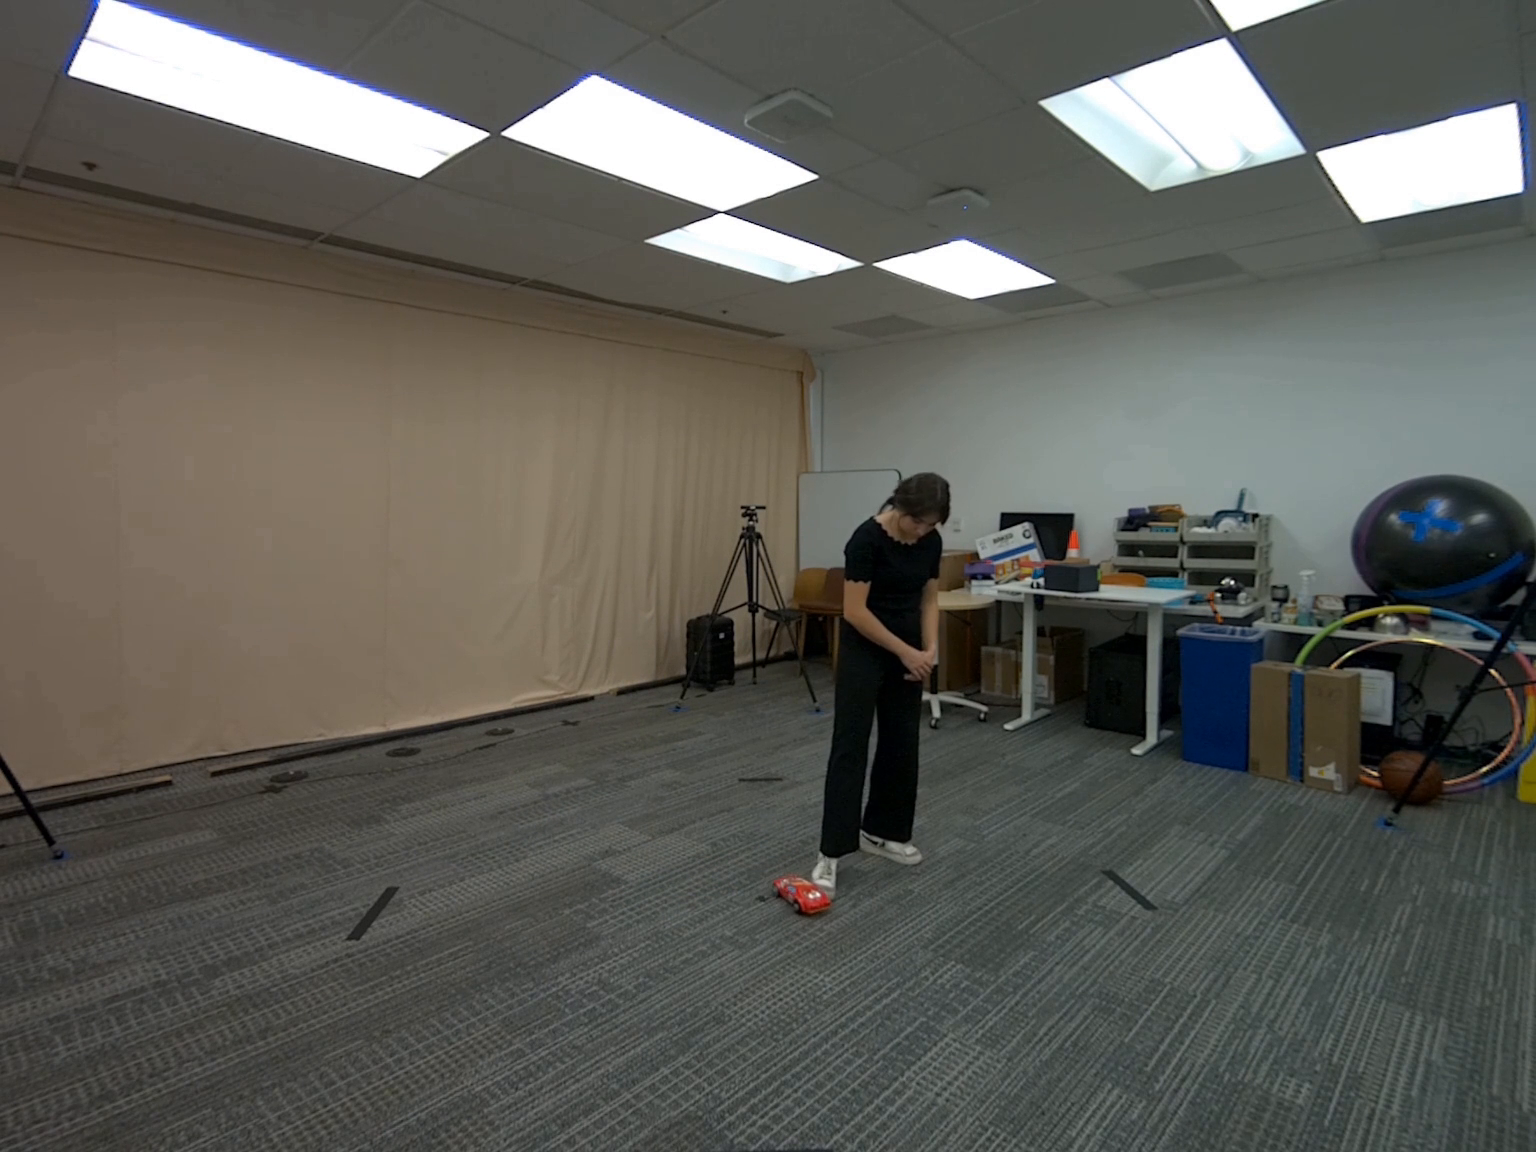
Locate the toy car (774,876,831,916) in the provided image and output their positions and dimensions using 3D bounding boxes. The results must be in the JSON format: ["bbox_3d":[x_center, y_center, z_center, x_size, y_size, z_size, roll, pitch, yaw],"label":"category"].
[{"bbox_3d":[0.127,1.113,2.942,0.127,0.083,0.260,-2,-5,-28],"label":"toy car"}]
